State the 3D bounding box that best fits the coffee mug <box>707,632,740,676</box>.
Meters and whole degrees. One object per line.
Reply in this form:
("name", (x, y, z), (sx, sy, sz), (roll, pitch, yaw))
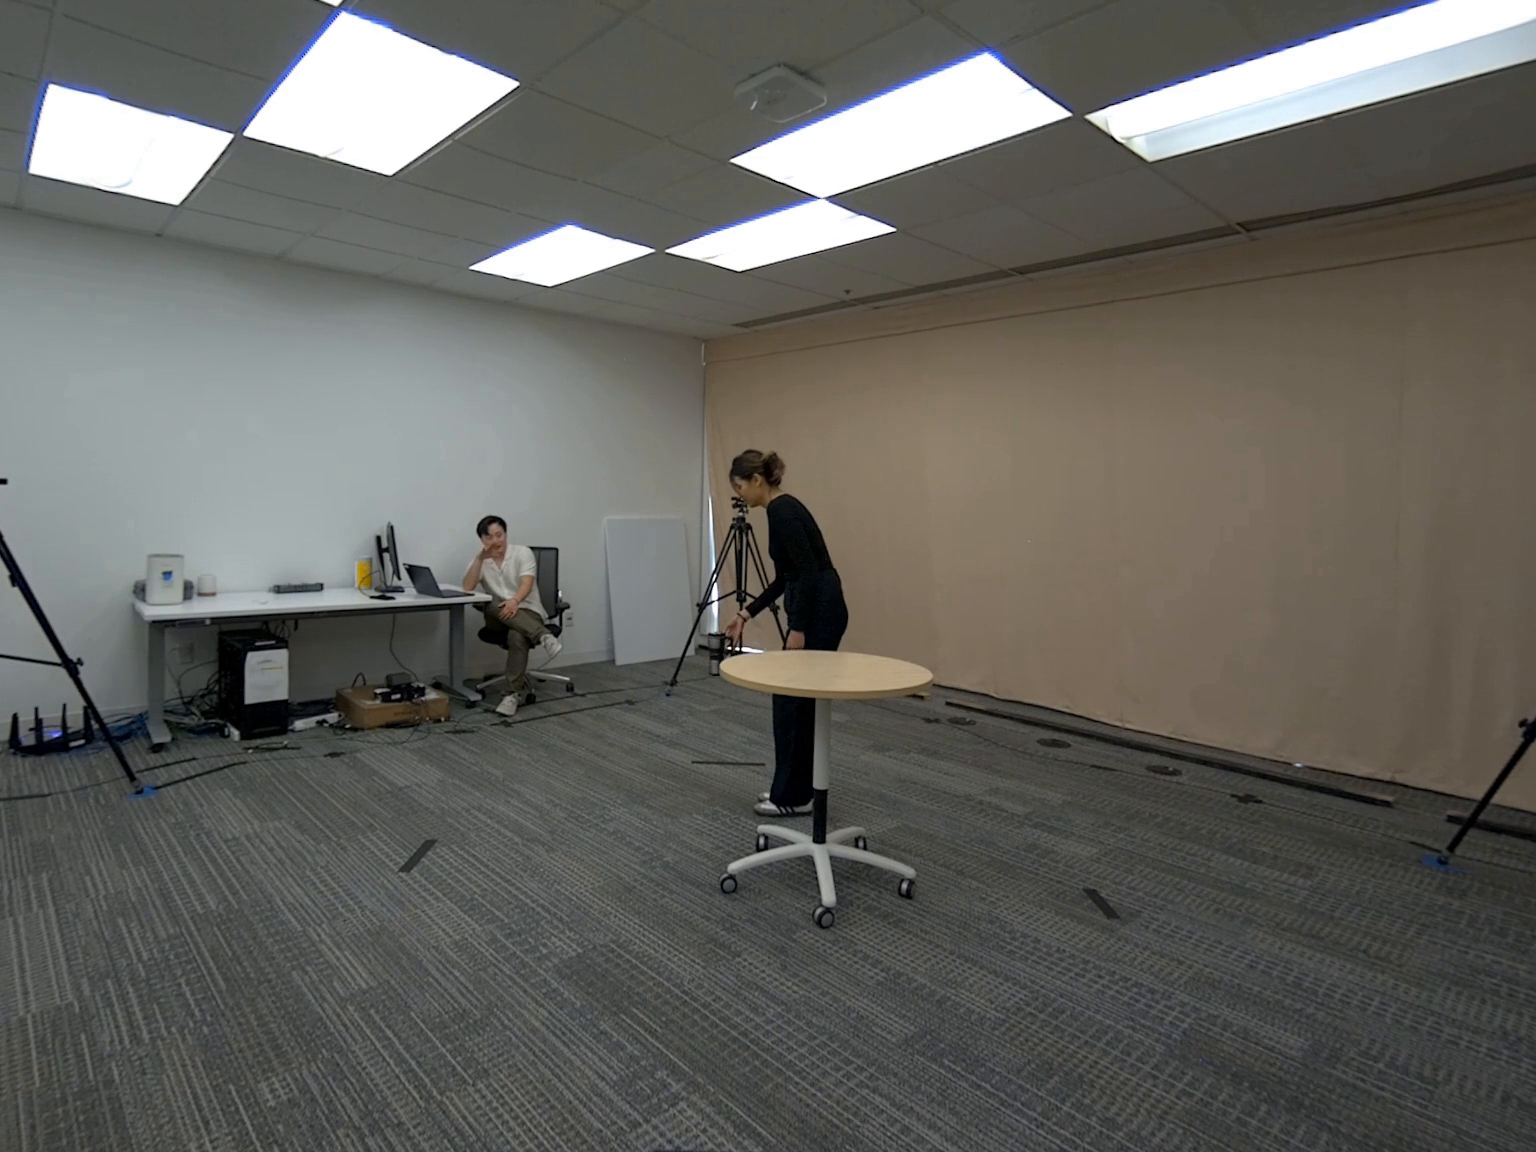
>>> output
("coffee mug", (-0.233, 0.376, 3.995), (0.125, 0.203, 0.086), (0, 0, 45))
